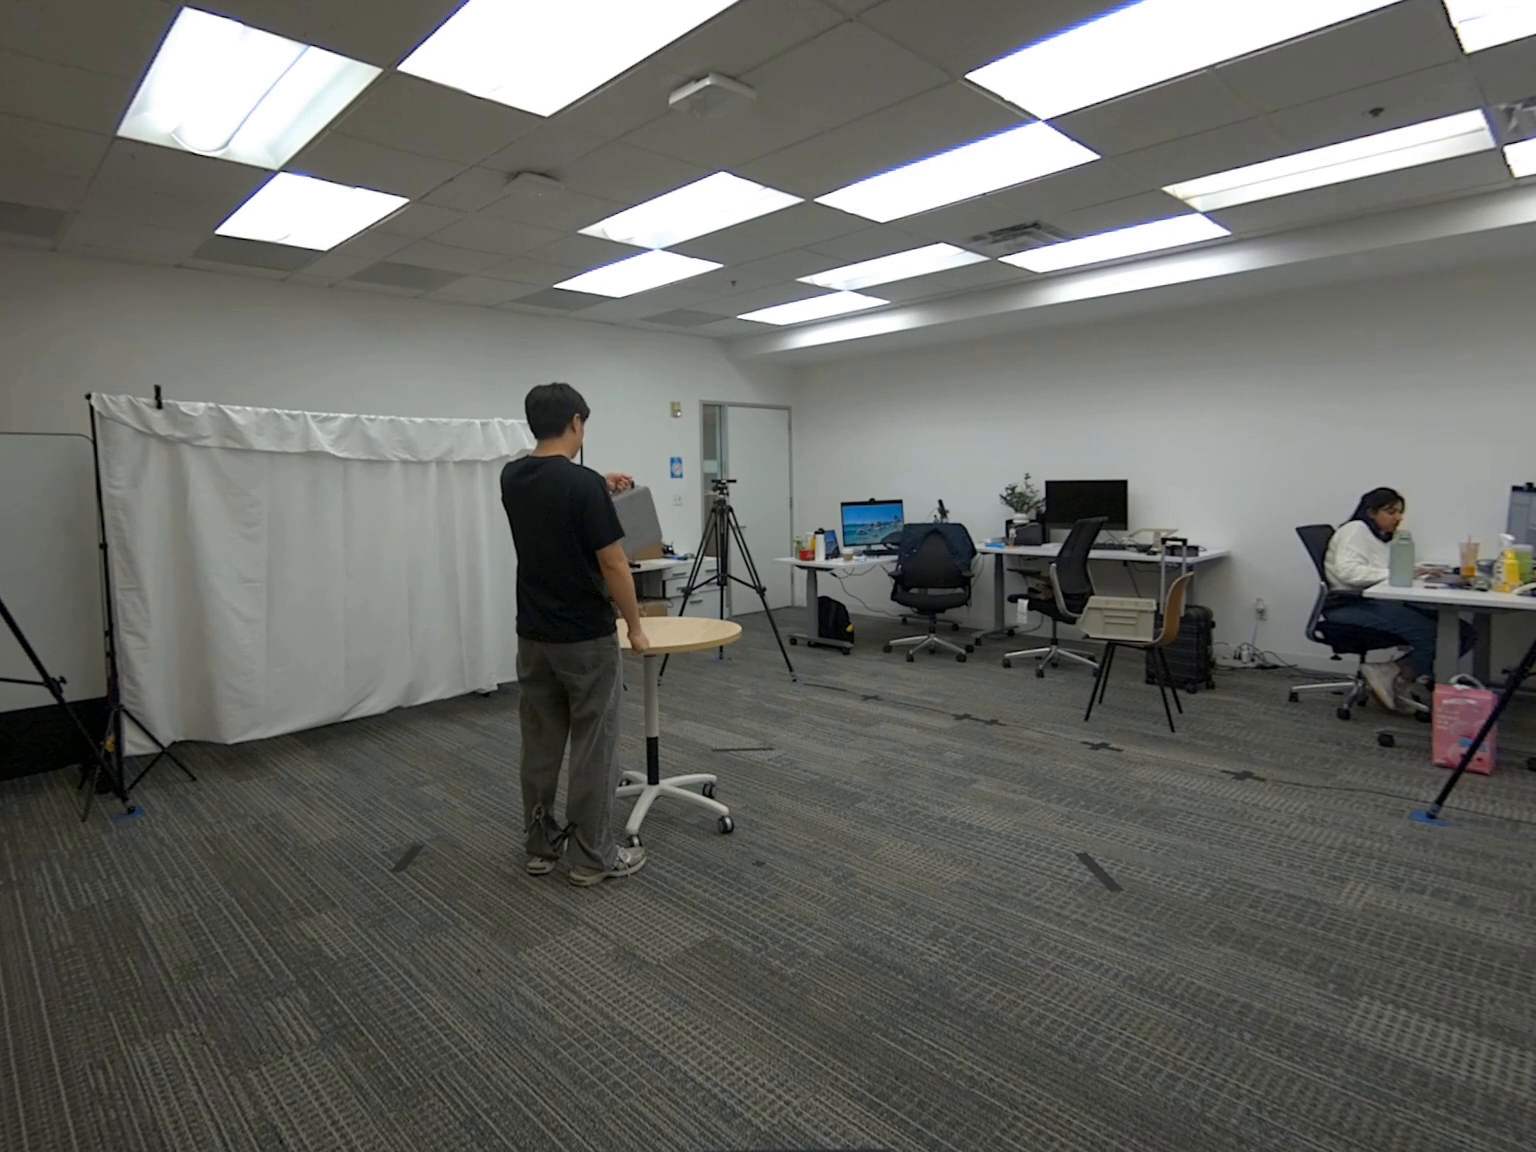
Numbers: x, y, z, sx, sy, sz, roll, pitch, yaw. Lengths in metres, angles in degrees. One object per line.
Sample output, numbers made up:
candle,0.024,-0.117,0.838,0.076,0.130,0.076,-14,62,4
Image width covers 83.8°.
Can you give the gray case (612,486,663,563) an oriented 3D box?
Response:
gray case,-0.572,-0.229,3.504,0.106,0.282,0.260,5,26,45
